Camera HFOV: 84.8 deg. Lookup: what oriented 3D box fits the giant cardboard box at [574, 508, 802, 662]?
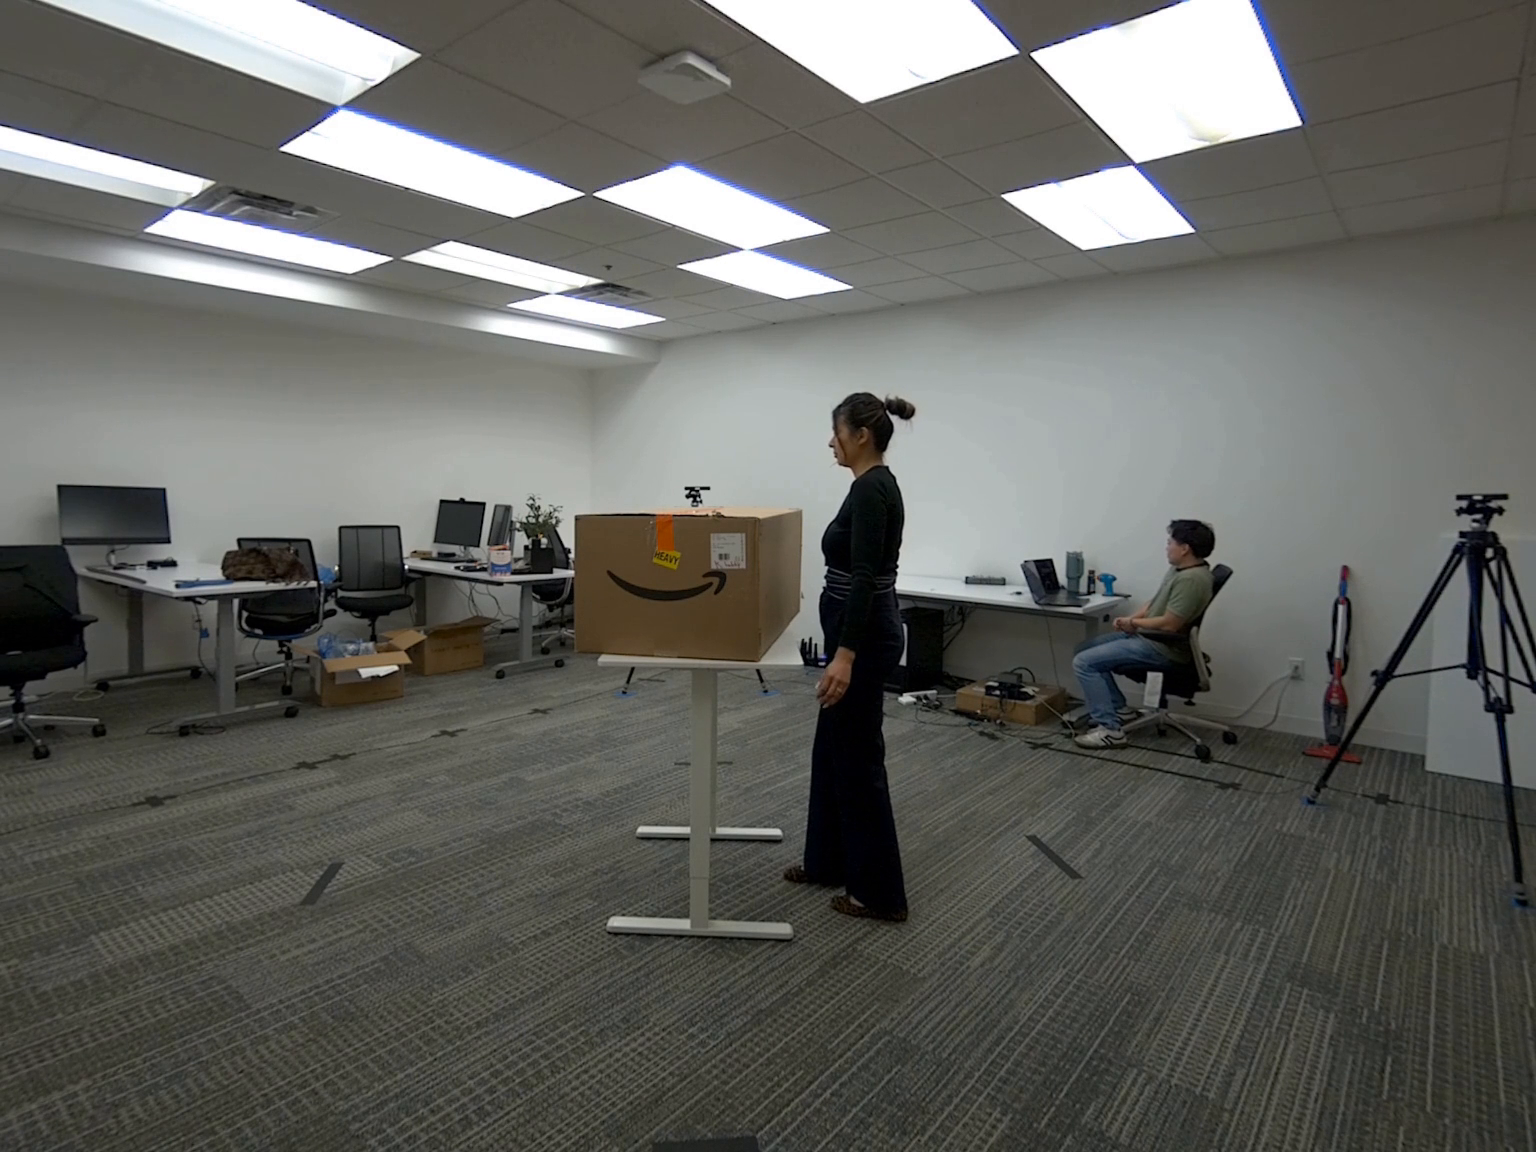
[{"bbox_3d":[-0.234,-0.023,3.022,0.585,0.424,1.018,1,6,10],"label":"giant cardboard box"}]
